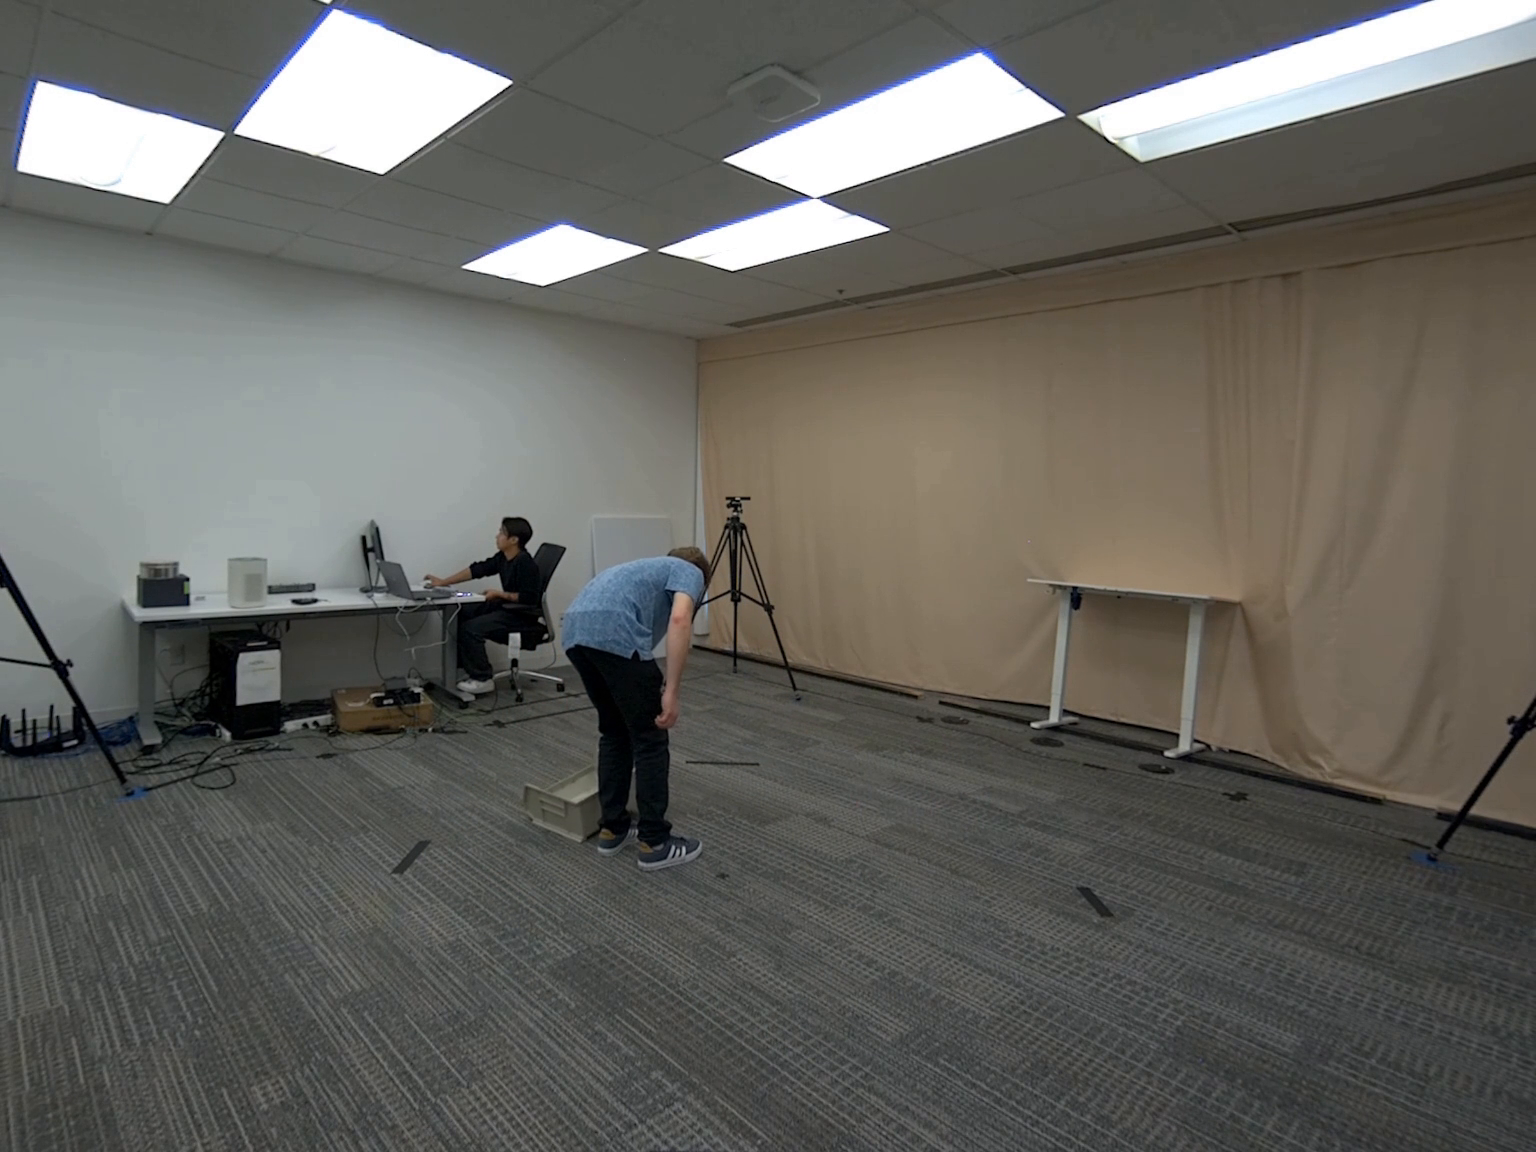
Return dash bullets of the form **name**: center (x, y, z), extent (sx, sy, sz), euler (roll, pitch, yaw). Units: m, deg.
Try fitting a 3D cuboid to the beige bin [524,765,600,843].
- **beige bin**: center (-0.788, 0.925, 3.623), extent (0.387, 0.187, 0.416), euler (6, 17, 37)
